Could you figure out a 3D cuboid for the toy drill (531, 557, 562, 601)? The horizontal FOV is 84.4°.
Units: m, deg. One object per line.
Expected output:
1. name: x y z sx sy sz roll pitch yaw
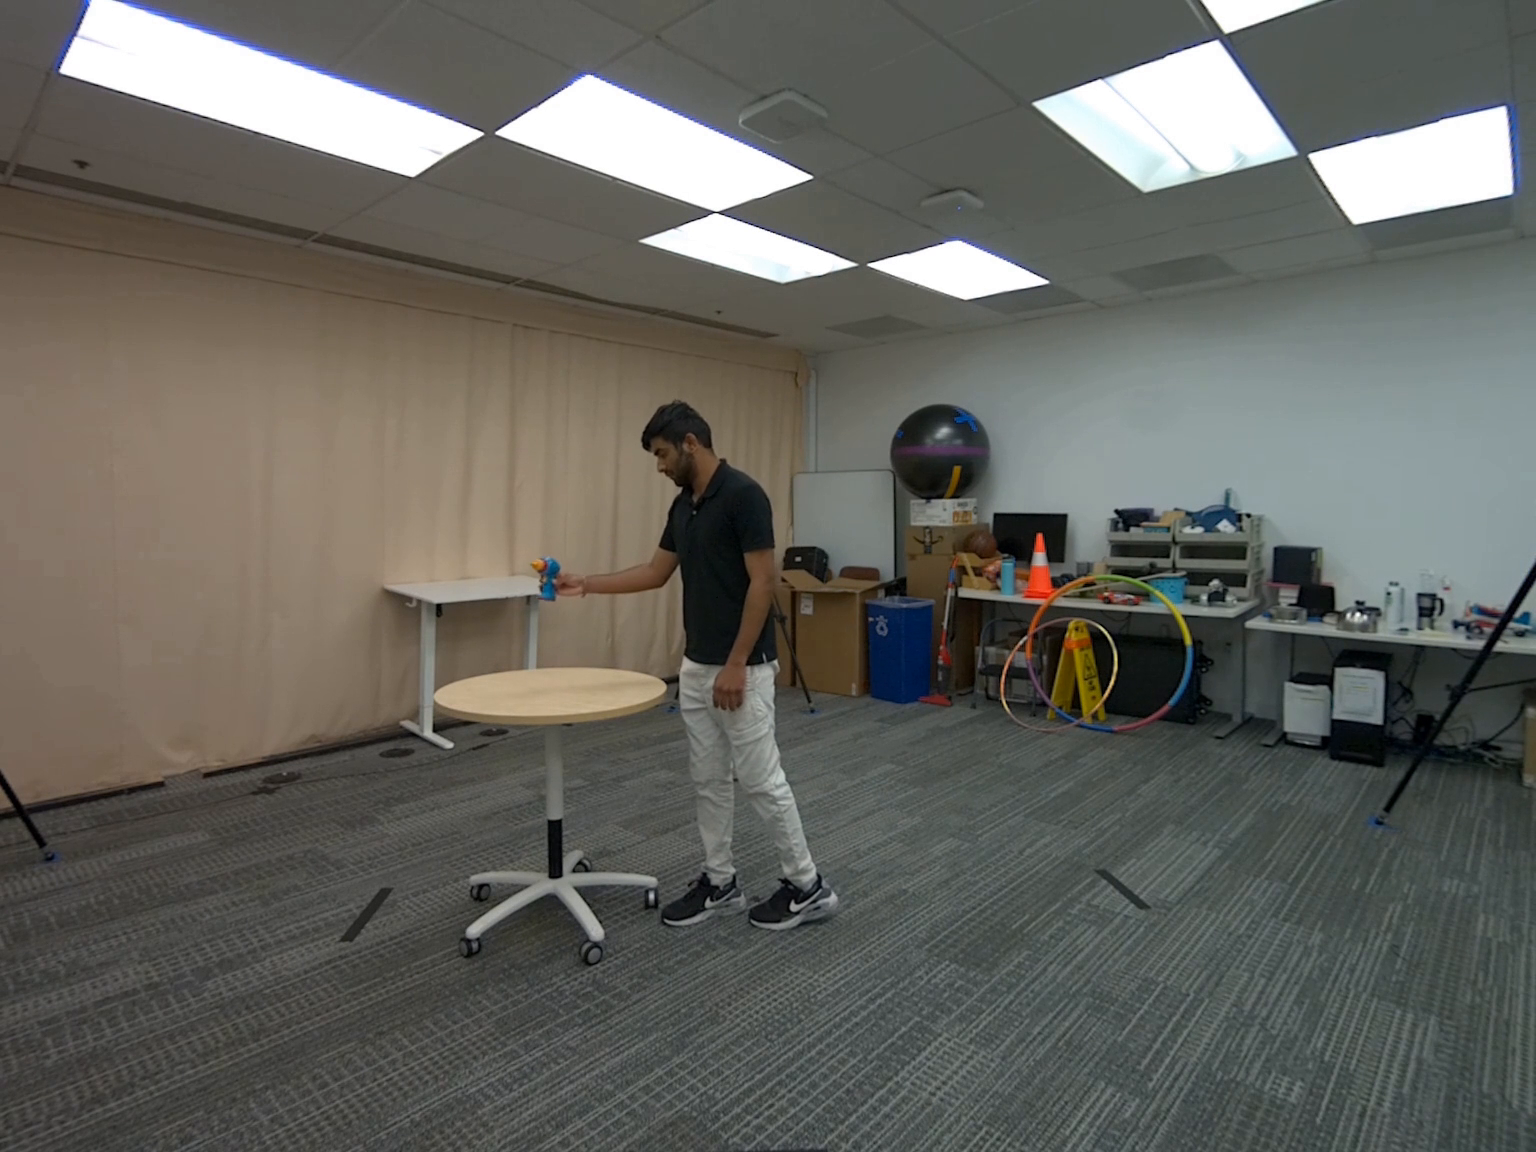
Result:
1. toy drill: -0.747 0.011 2.812 0.062 0.146 0.166 1 -5 16
